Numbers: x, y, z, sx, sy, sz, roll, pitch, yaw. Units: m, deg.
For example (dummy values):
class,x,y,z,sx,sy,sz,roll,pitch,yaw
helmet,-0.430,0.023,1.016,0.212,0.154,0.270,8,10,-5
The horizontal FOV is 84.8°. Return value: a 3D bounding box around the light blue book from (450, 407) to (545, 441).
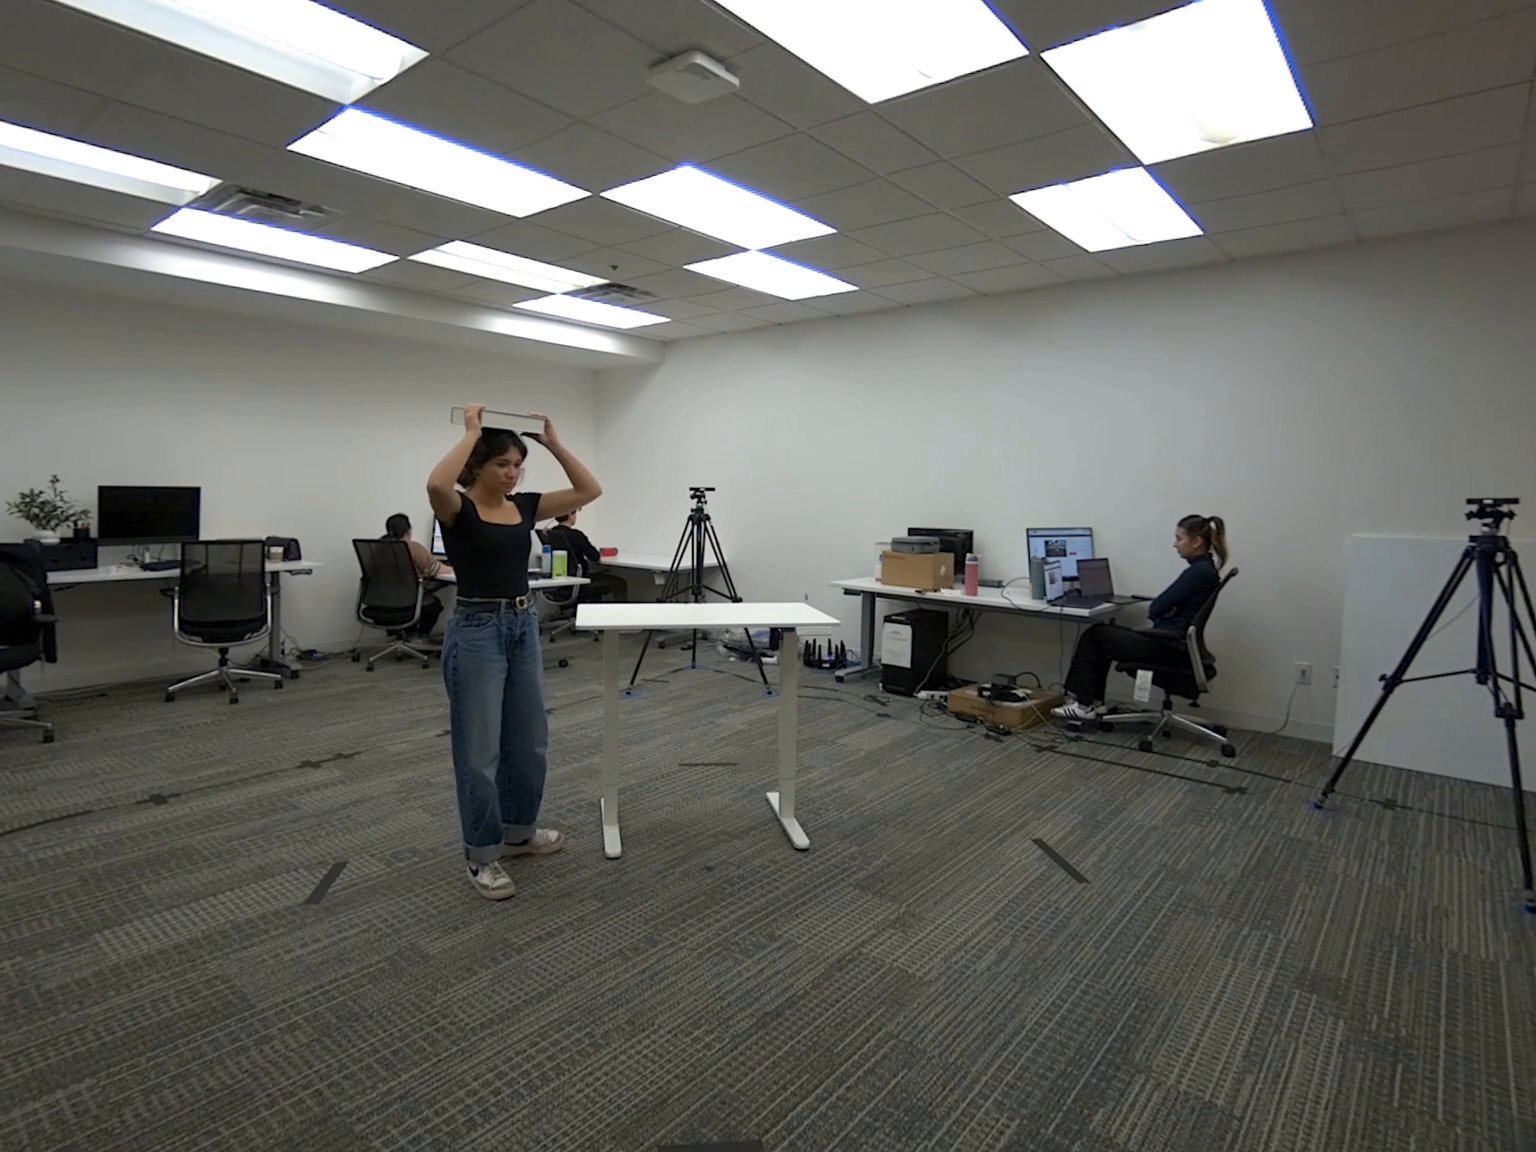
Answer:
class,x,y,z,sx,sy,sz,roll,pitch,yaw
light blue book,-0.942,-0.542,2.943,0.198,0.059,0.253,12,8,36
